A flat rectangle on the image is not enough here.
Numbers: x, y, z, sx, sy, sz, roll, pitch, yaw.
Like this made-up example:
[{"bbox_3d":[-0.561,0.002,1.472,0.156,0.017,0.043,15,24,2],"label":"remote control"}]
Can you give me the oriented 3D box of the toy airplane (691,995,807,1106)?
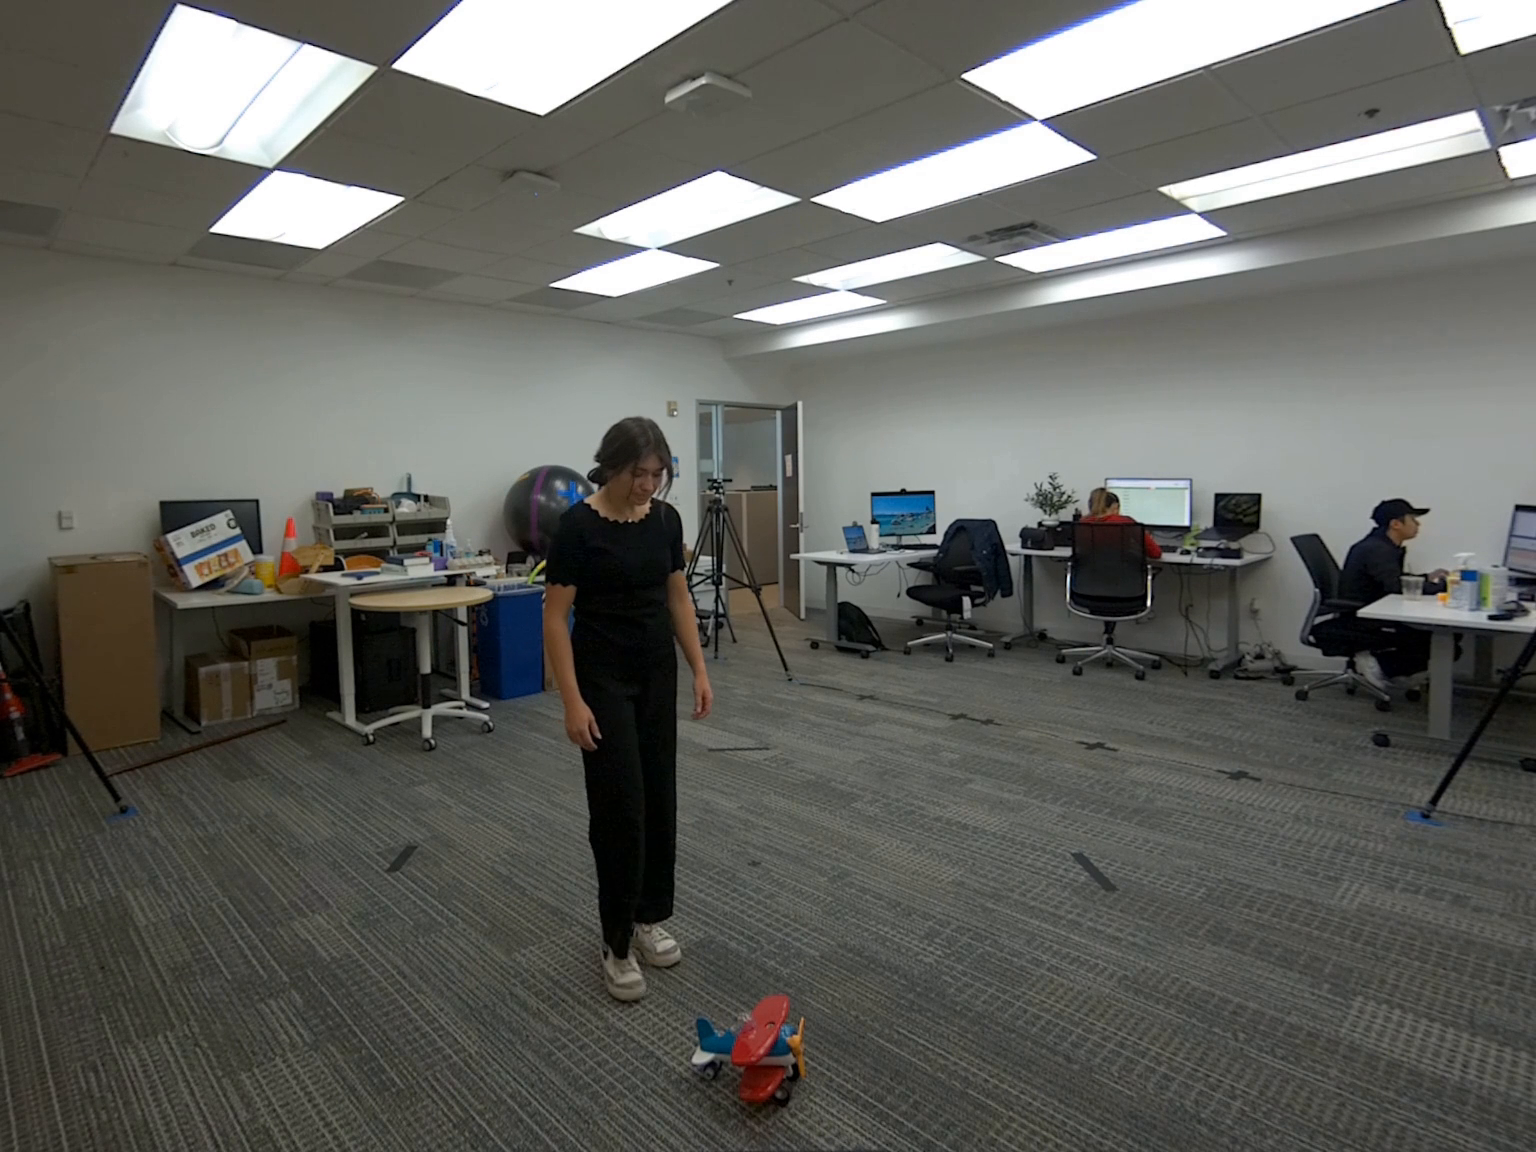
[{"bbox_3d":[-0.036,1.106,1.964,0.257,0.156,0.254,-1,6,-8],"label":"toy airplane"}]
